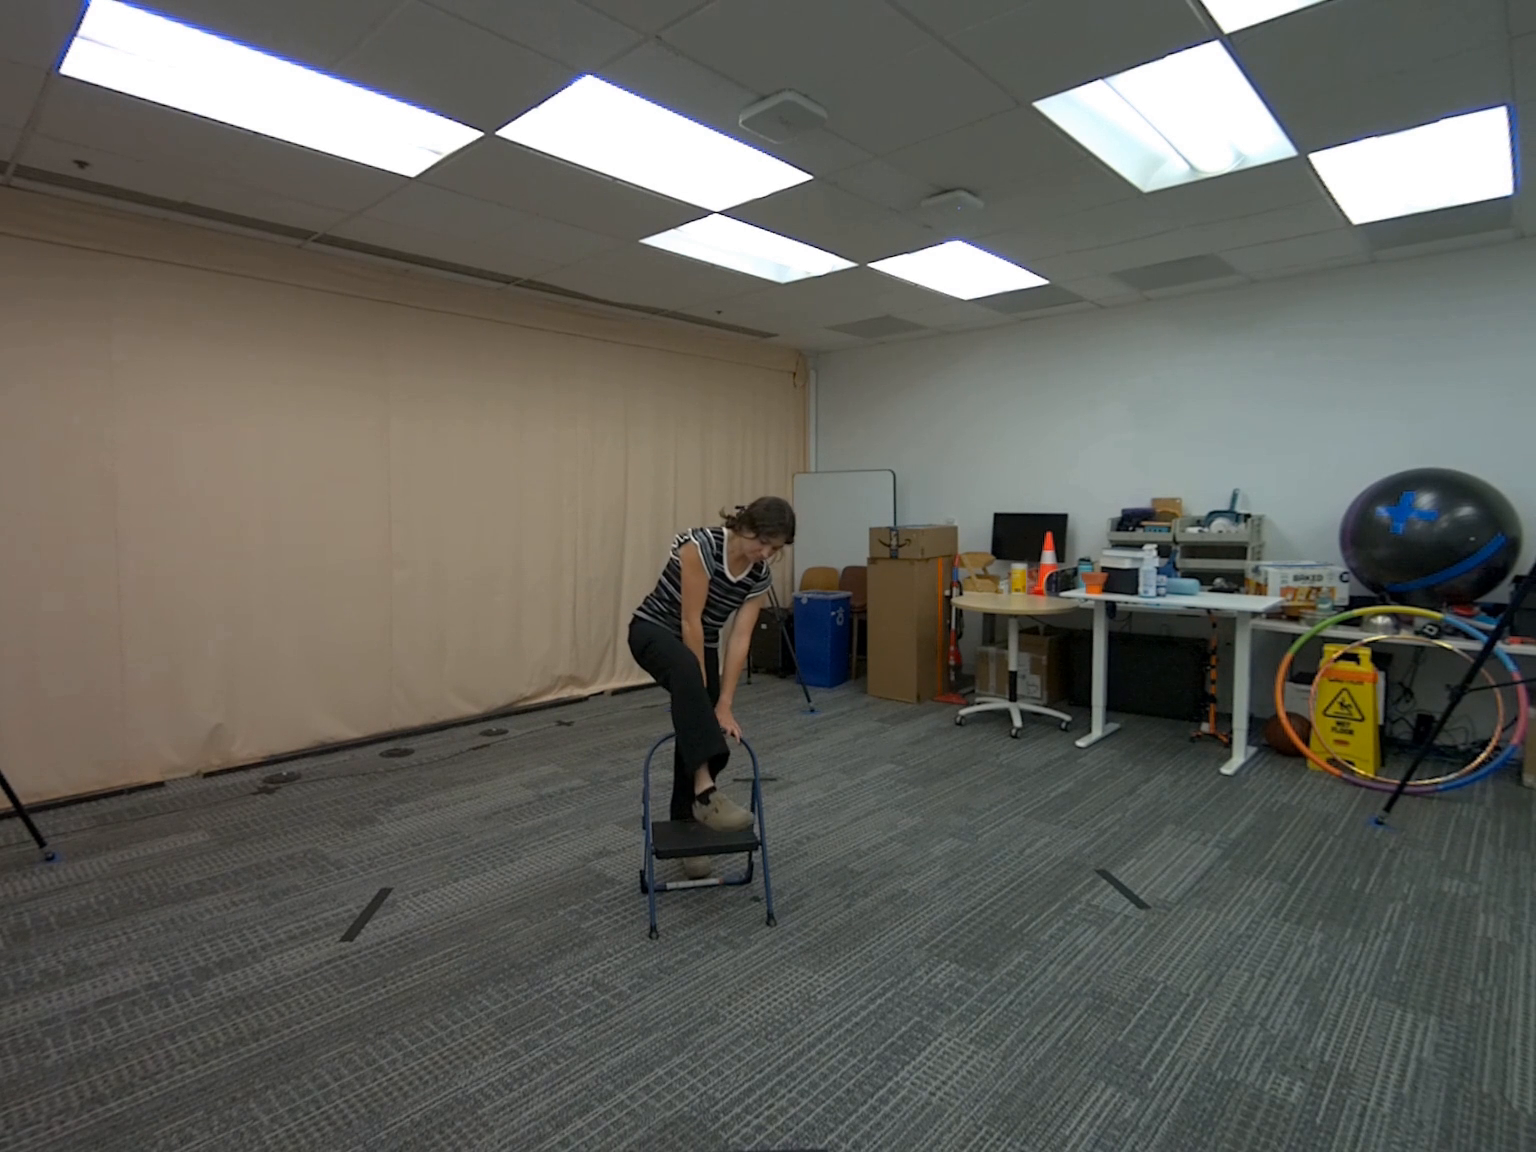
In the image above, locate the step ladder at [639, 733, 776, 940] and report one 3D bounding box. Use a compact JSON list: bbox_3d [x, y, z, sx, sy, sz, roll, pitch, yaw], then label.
[{"bbox_3d":[-0.220,0.851,2.910,0.425,0.605,0.355,-1,3,-13],"label":"step ladder"}]
